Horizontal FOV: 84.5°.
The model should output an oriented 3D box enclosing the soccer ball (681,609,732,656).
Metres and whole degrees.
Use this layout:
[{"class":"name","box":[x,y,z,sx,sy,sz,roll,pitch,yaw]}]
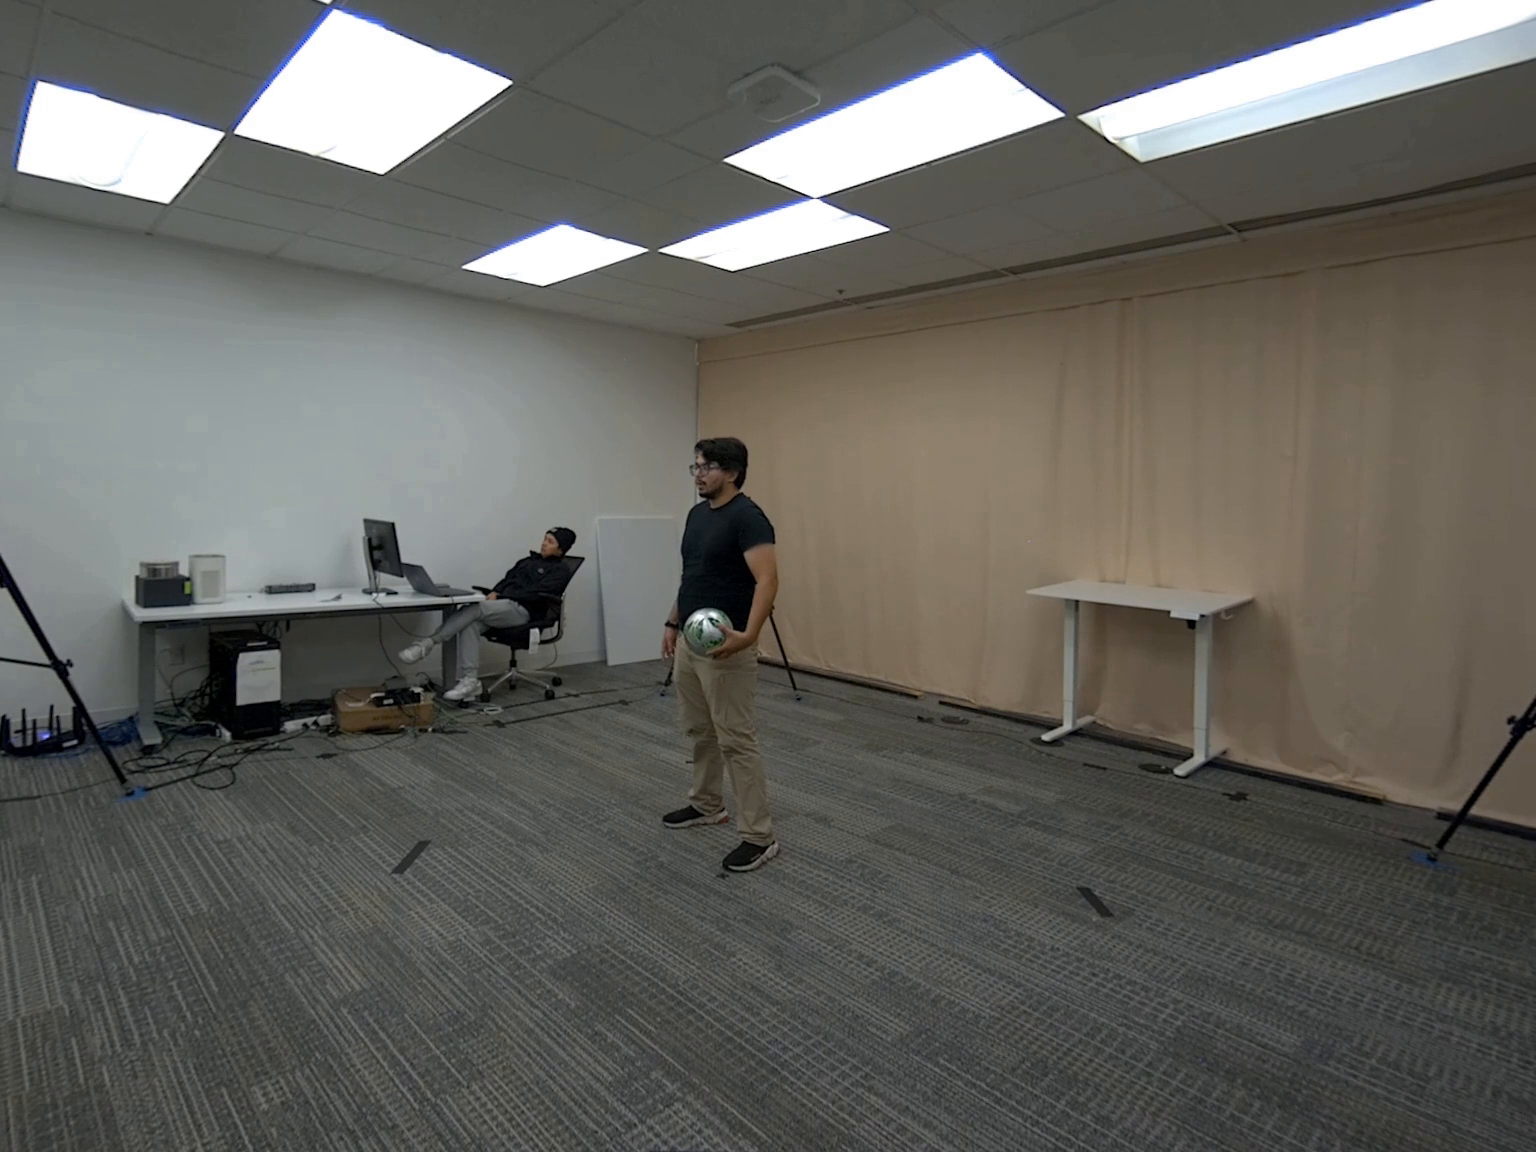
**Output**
[{"class":"soccer ball","box":[-0.229,0.213,3.125,0.187,0.187,0.188,1,4,-1]}]
